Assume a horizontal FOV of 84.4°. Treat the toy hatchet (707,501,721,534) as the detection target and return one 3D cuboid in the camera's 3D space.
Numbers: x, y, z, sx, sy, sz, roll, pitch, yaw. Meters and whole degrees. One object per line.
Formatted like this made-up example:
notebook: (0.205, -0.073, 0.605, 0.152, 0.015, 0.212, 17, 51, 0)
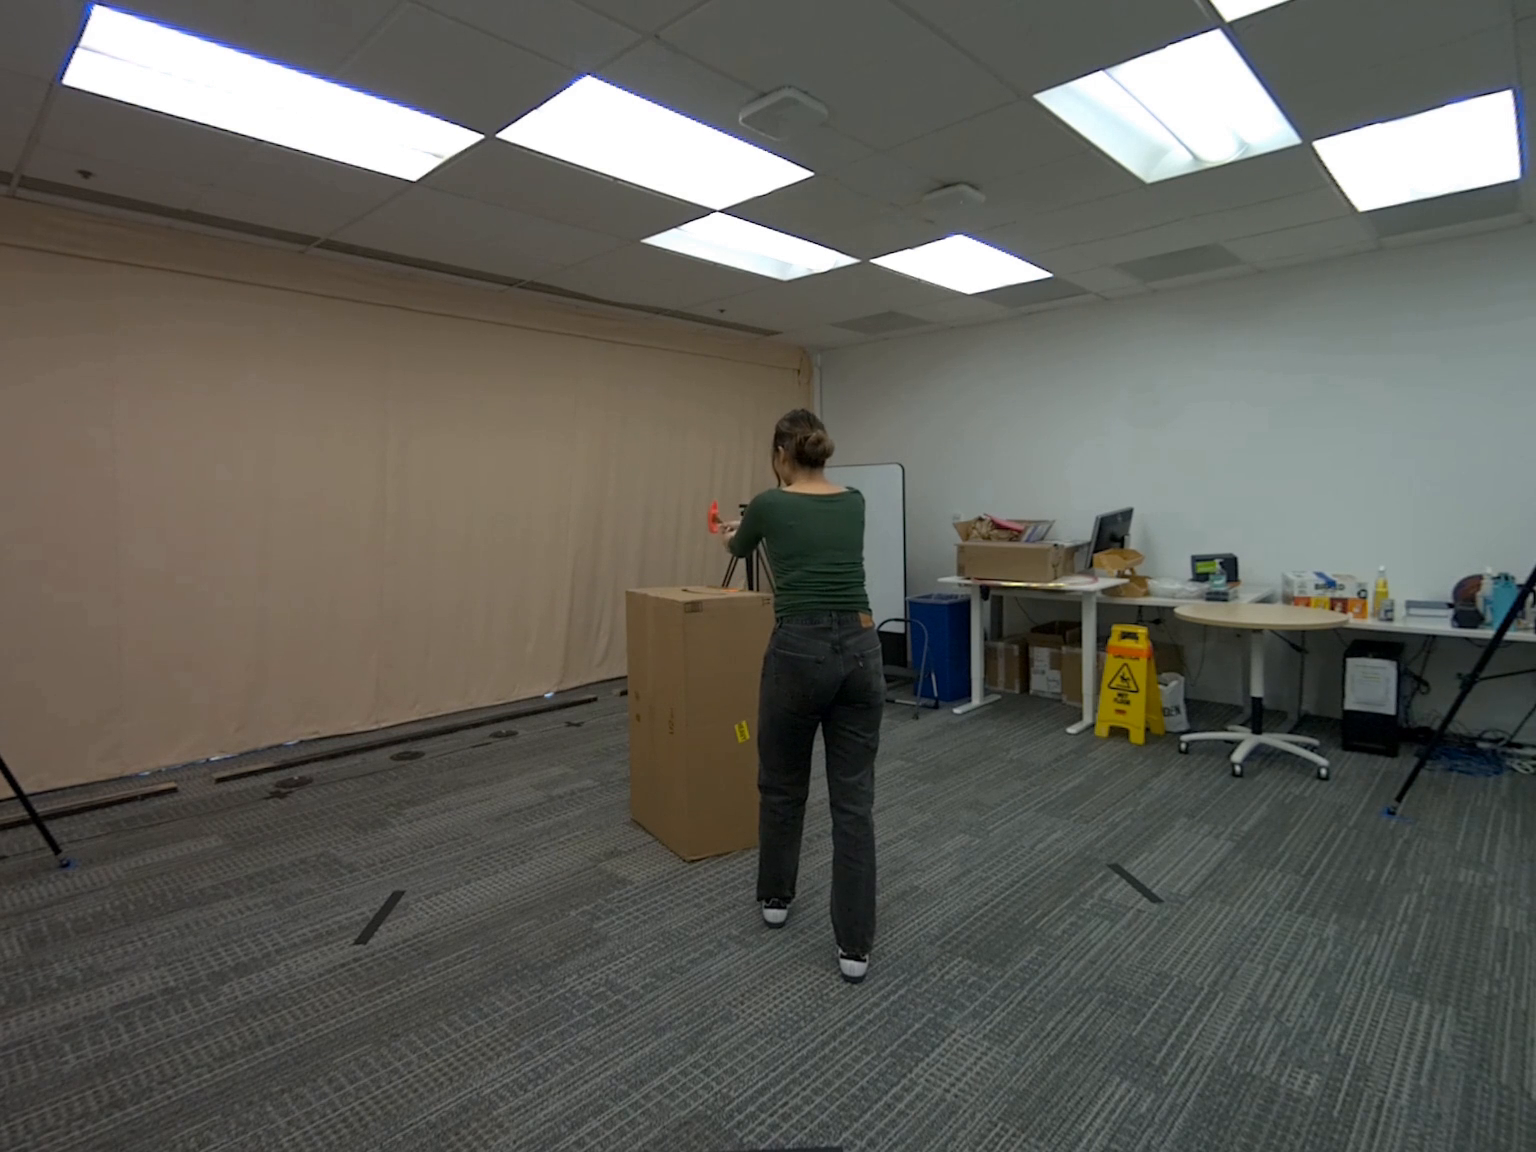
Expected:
toy hatchet: (-0.173, -0.171, 3.277, 0.029, 0.131, 0.278, 1, 43, -32)
